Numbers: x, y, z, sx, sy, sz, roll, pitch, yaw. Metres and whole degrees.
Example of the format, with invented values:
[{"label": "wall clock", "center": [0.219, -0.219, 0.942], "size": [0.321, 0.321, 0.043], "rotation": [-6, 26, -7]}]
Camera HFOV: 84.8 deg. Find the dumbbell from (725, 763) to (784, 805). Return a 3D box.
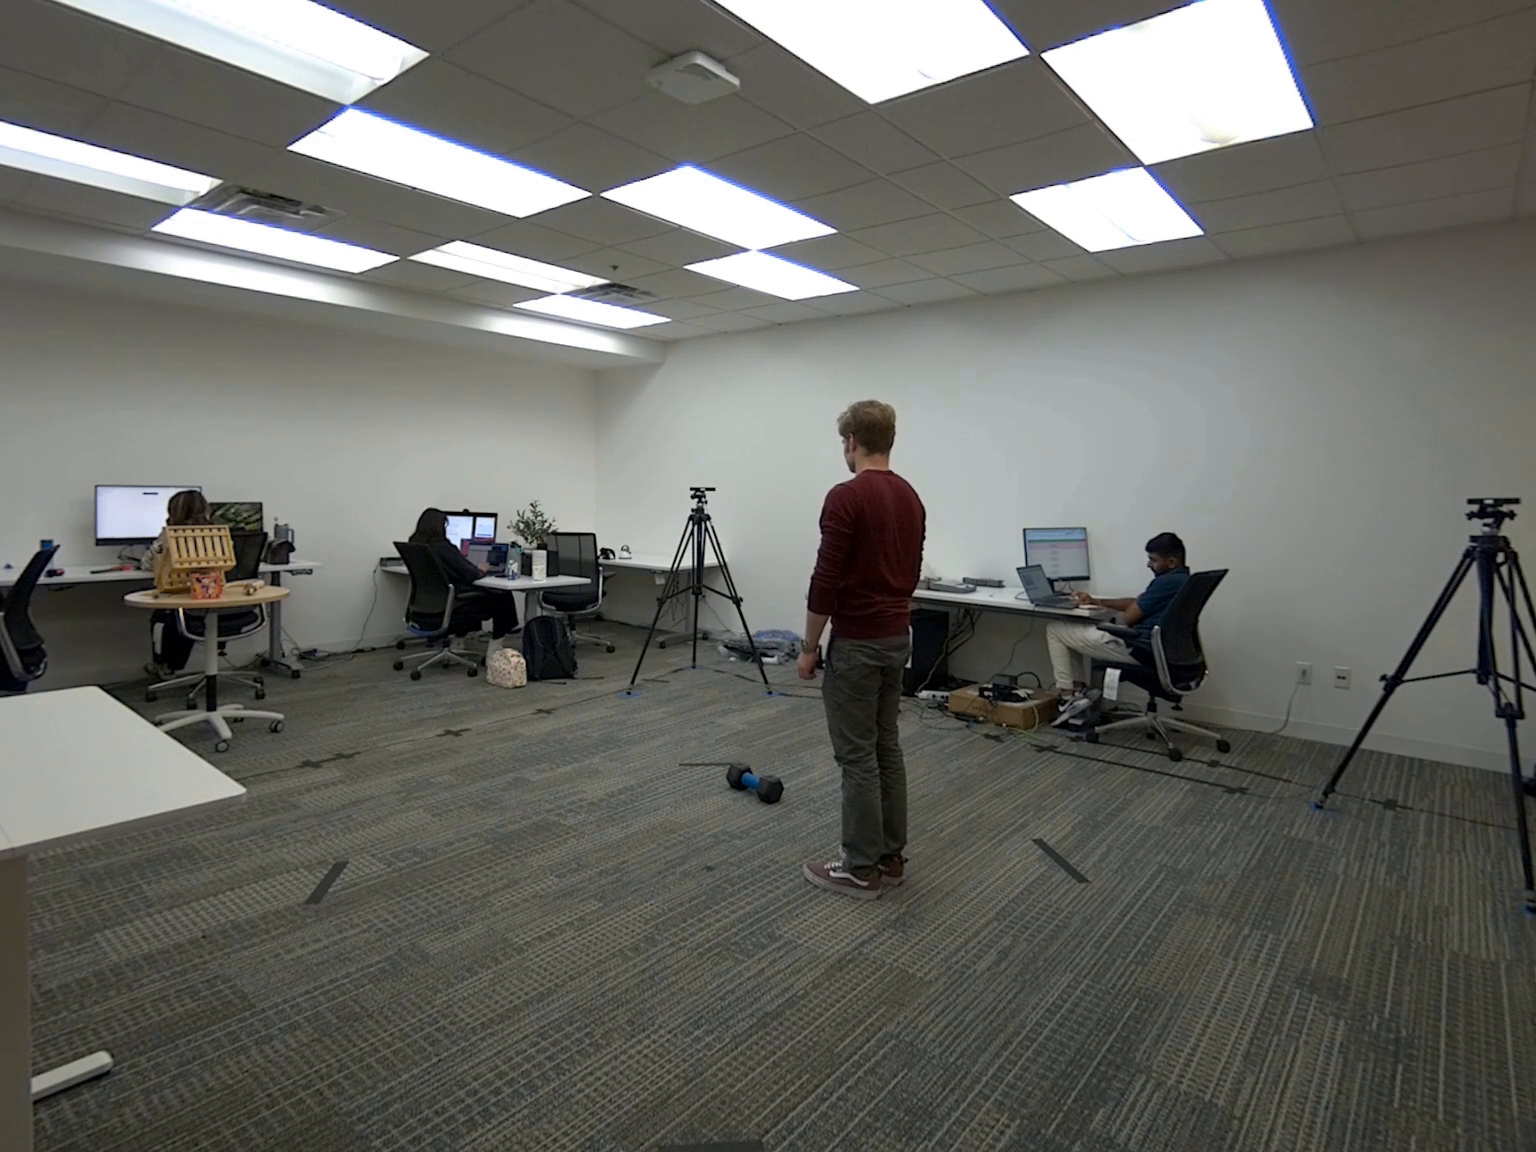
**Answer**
[{"label": "dumbbell", "center": [-0.068, 0.940, 3.889], "size": [0.108, 0.120, 0.304], "rotation": [-38, 28, -32]}]
